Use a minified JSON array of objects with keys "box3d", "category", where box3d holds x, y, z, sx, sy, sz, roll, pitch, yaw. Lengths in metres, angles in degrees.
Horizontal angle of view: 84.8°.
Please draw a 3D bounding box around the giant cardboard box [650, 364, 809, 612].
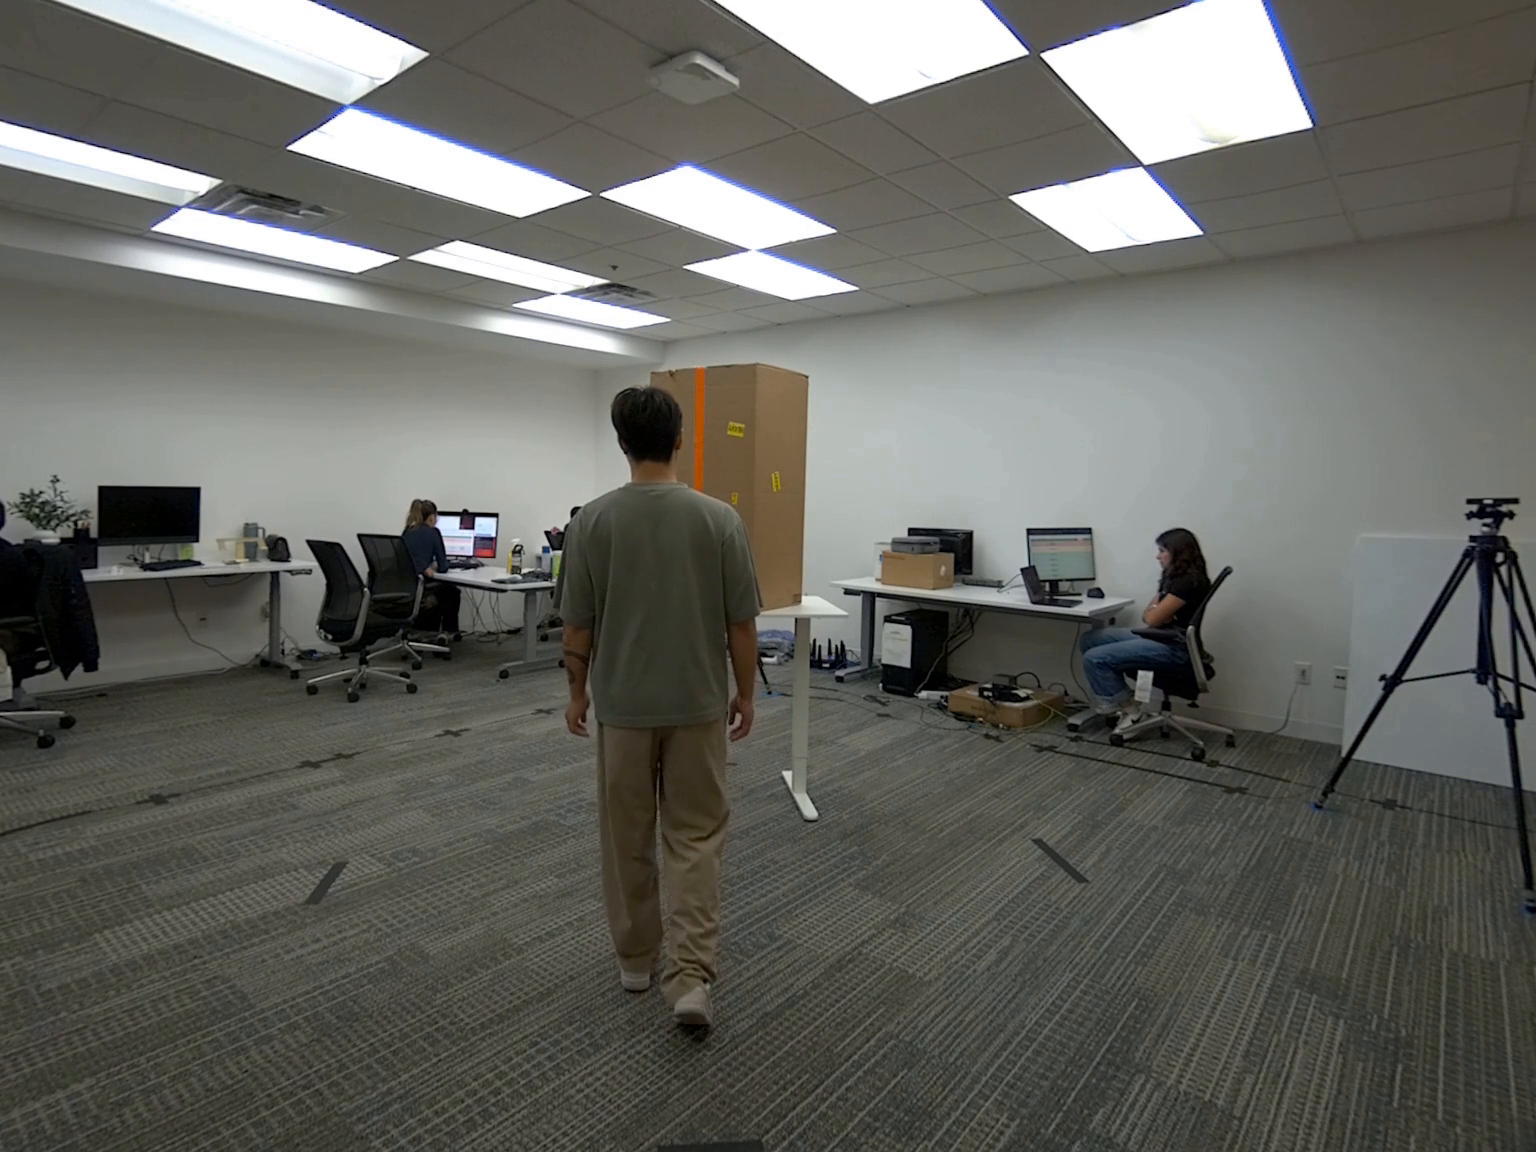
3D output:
[{"box3d":[-0.194,-0.393,3.788,0.596,1.022,0.414,4,5,35],"category":"giant cardboard box"}]
